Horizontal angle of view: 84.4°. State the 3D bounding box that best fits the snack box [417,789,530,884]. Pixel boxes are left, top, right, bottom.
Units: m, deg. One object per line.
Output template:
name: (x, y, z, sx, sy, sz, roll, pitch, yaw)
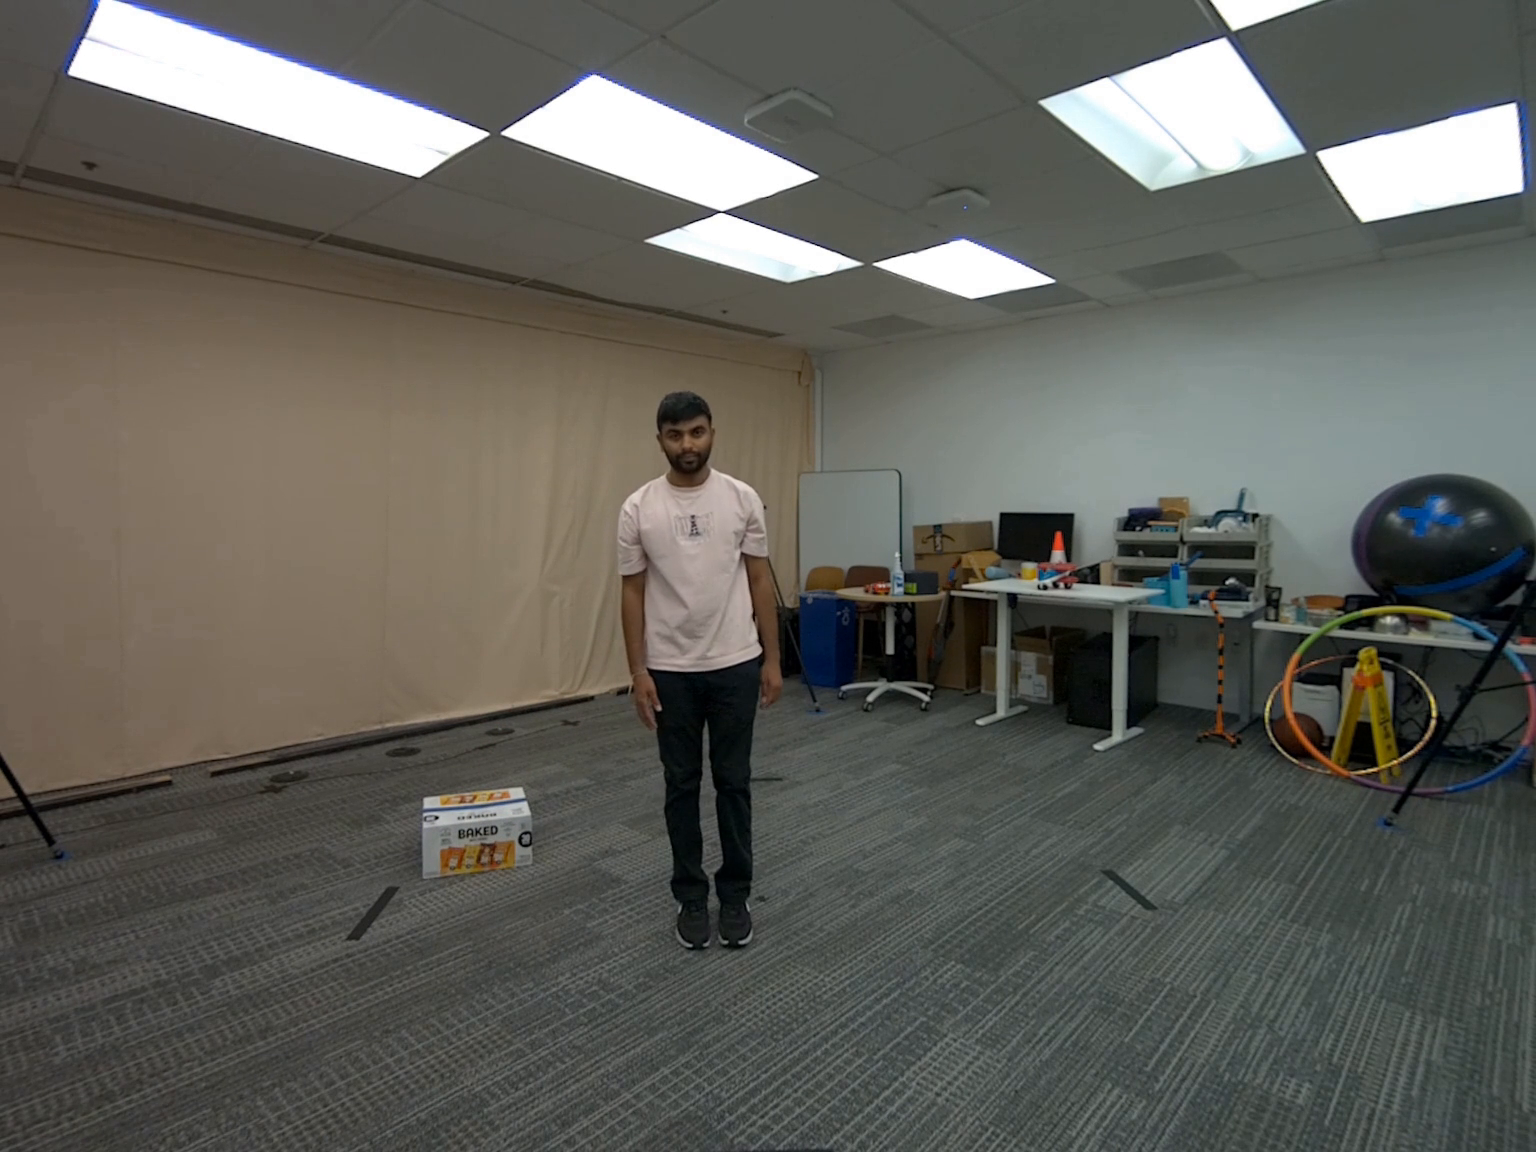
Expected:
snack box: (-1.177, 1.021, 3.366, 0.397, 0.205, 0.348, -1, 4, -20)
